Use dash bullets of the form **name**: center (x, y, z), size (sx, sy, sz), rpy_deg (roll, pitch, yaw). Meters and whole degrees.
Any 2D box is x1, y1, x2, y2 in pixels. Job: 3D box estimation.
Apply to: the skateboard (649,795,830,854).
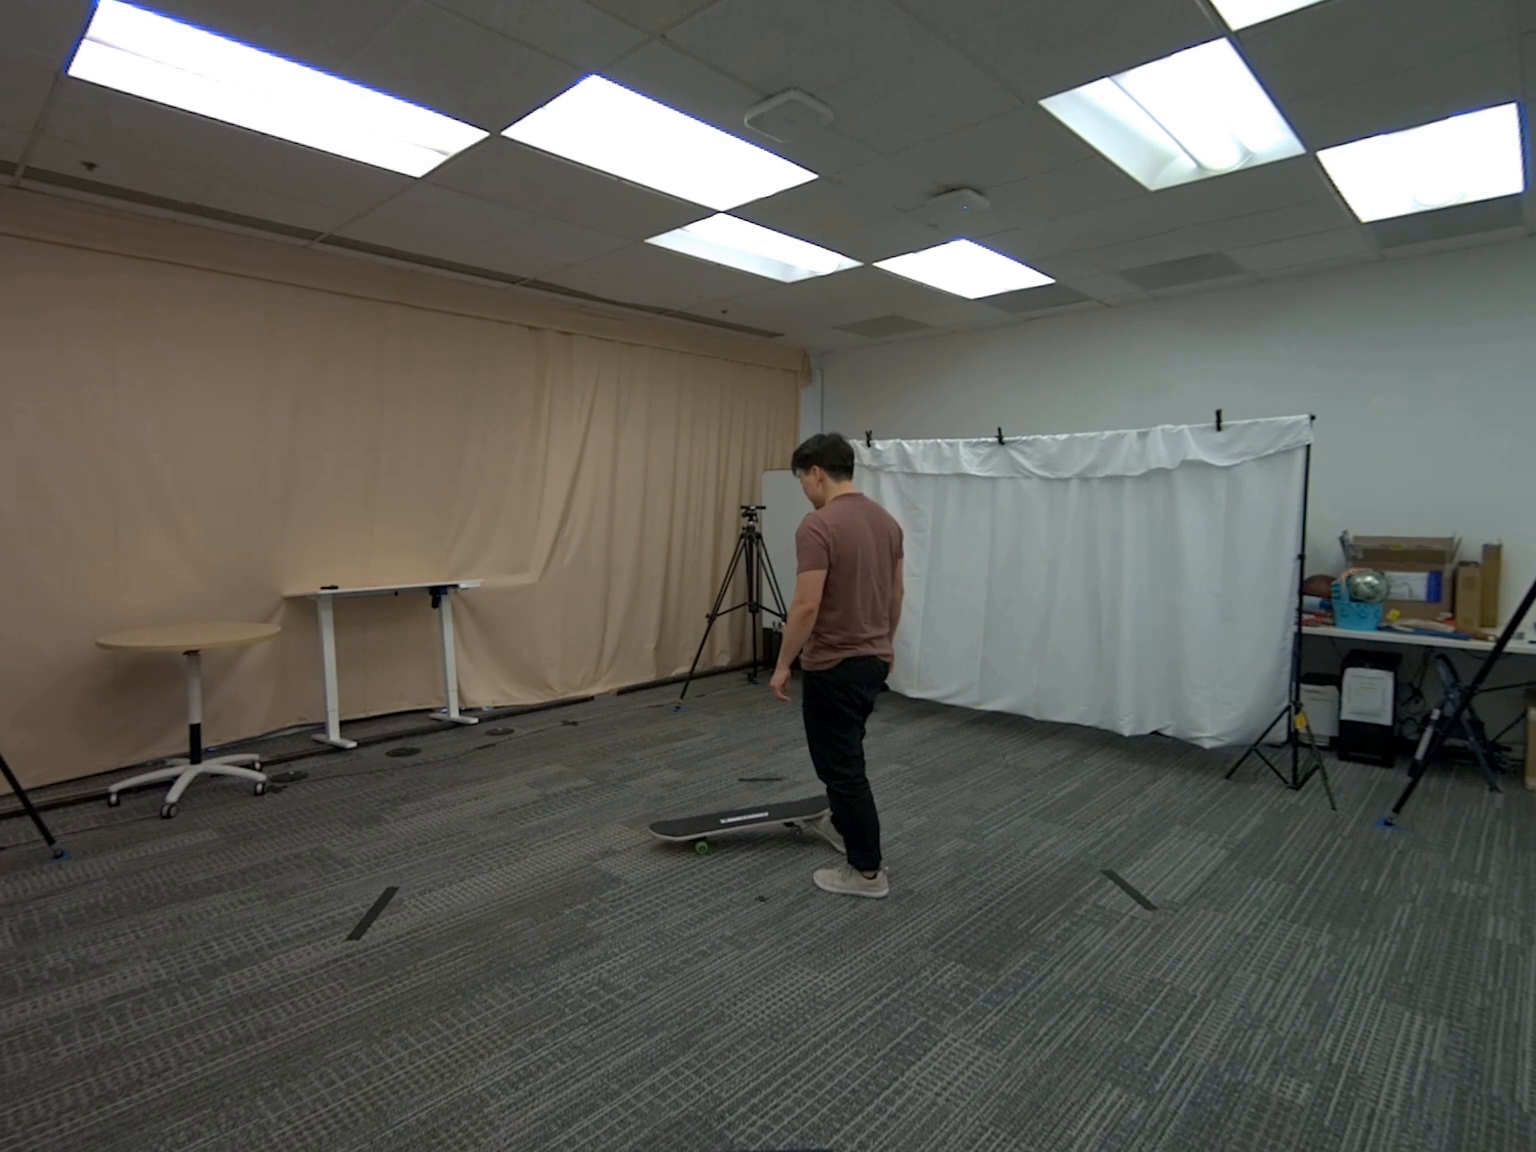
- **skateboard**: center (-0.097, 1.033, 3.477), size (0.777, 0.110, 0.196), rpy_deg (-5, 6, -10)
